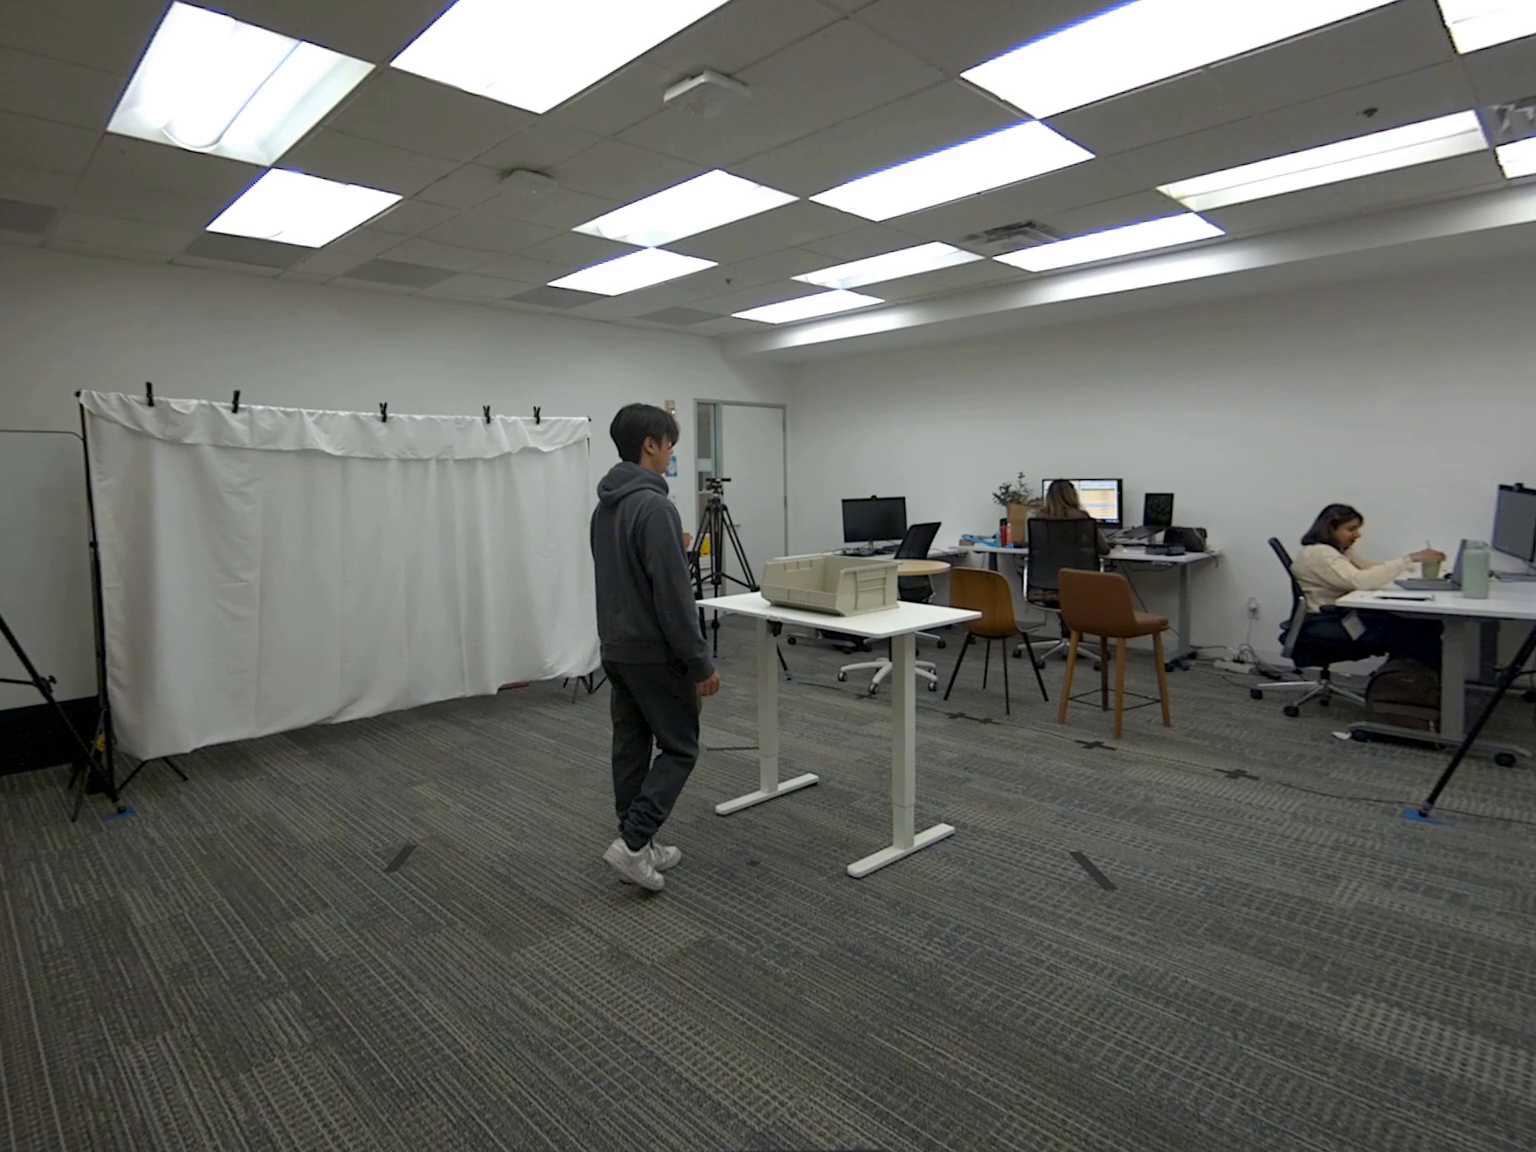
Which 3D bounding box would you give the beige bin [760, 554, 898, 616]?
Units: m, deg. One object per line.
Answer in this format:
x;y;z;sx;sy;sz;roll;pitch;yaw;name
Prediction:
0.249;0.035;3.378;0.367;0.188;0.435;-6;8;-41;beige bin
